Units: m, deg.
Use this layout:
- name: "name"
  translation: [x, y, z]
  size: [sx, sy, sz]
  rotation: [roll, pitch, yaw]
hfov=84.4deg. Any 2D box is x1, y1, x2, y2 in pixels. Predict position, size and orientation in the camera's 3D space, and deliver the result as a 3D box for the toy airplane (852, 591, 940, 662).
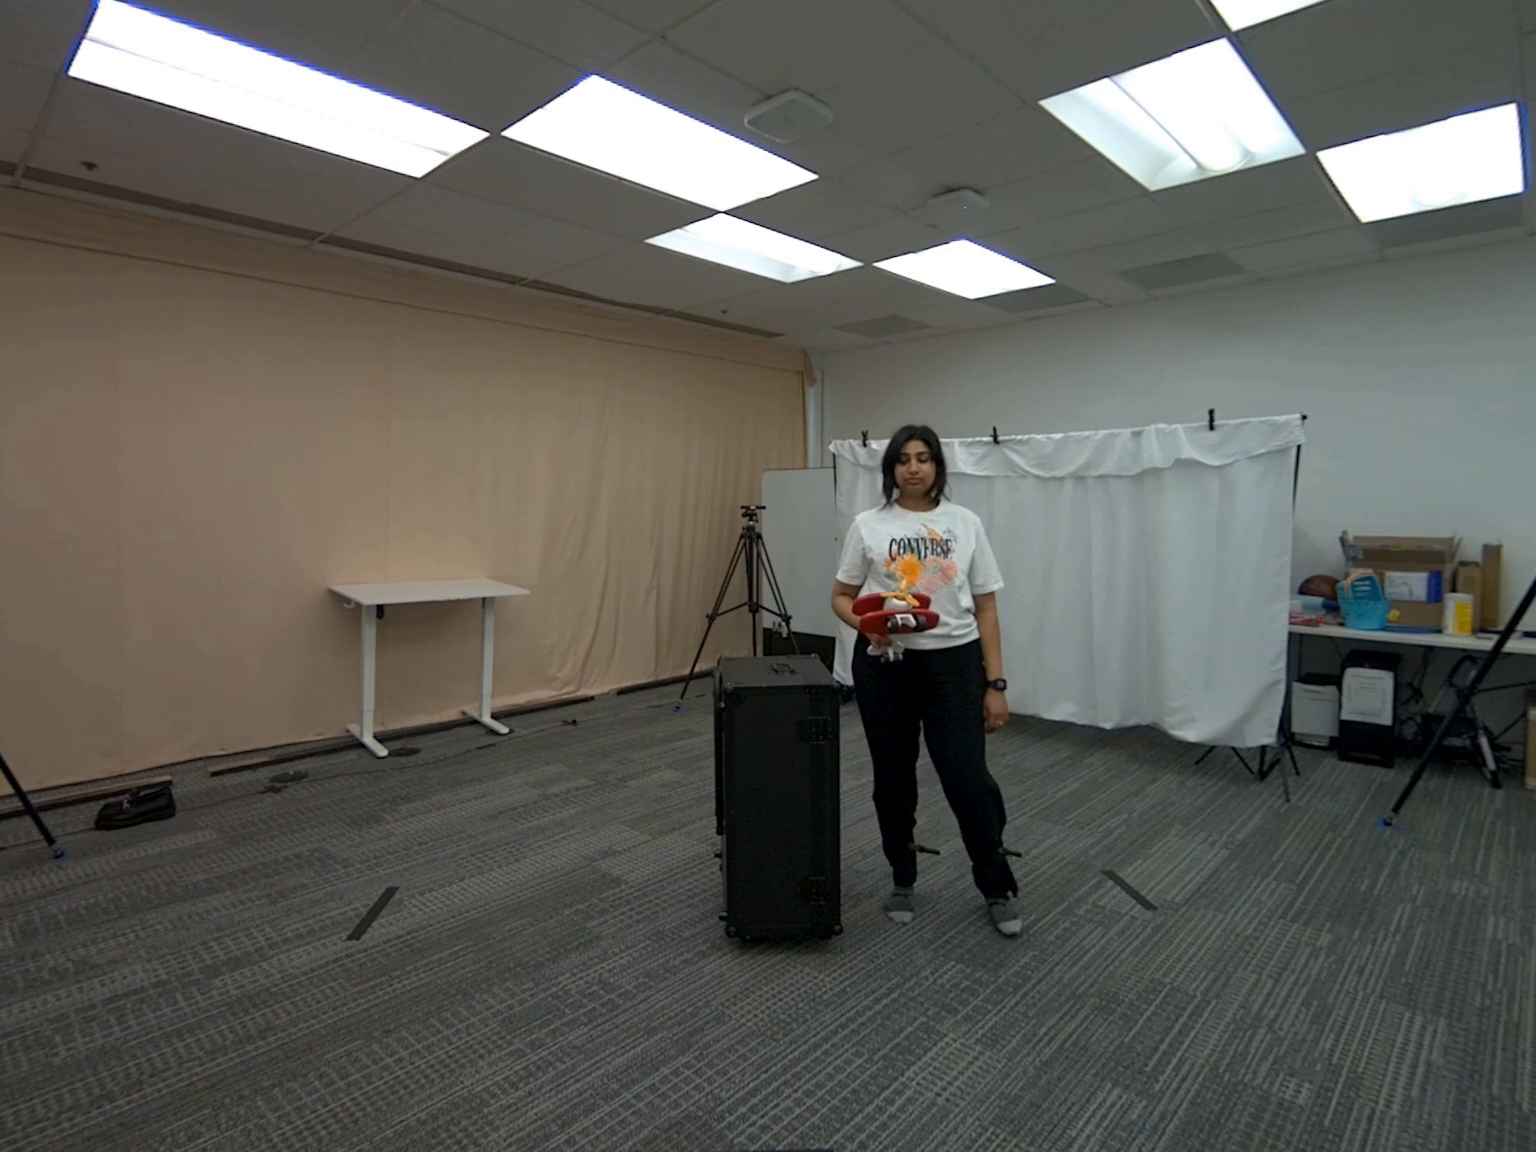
- name: "toy airplane"
  translation: [0.379, 0.154, 2.616]
  size: [0.243, 0.160, 0.262]
  rotation: [17, -44, -34]
